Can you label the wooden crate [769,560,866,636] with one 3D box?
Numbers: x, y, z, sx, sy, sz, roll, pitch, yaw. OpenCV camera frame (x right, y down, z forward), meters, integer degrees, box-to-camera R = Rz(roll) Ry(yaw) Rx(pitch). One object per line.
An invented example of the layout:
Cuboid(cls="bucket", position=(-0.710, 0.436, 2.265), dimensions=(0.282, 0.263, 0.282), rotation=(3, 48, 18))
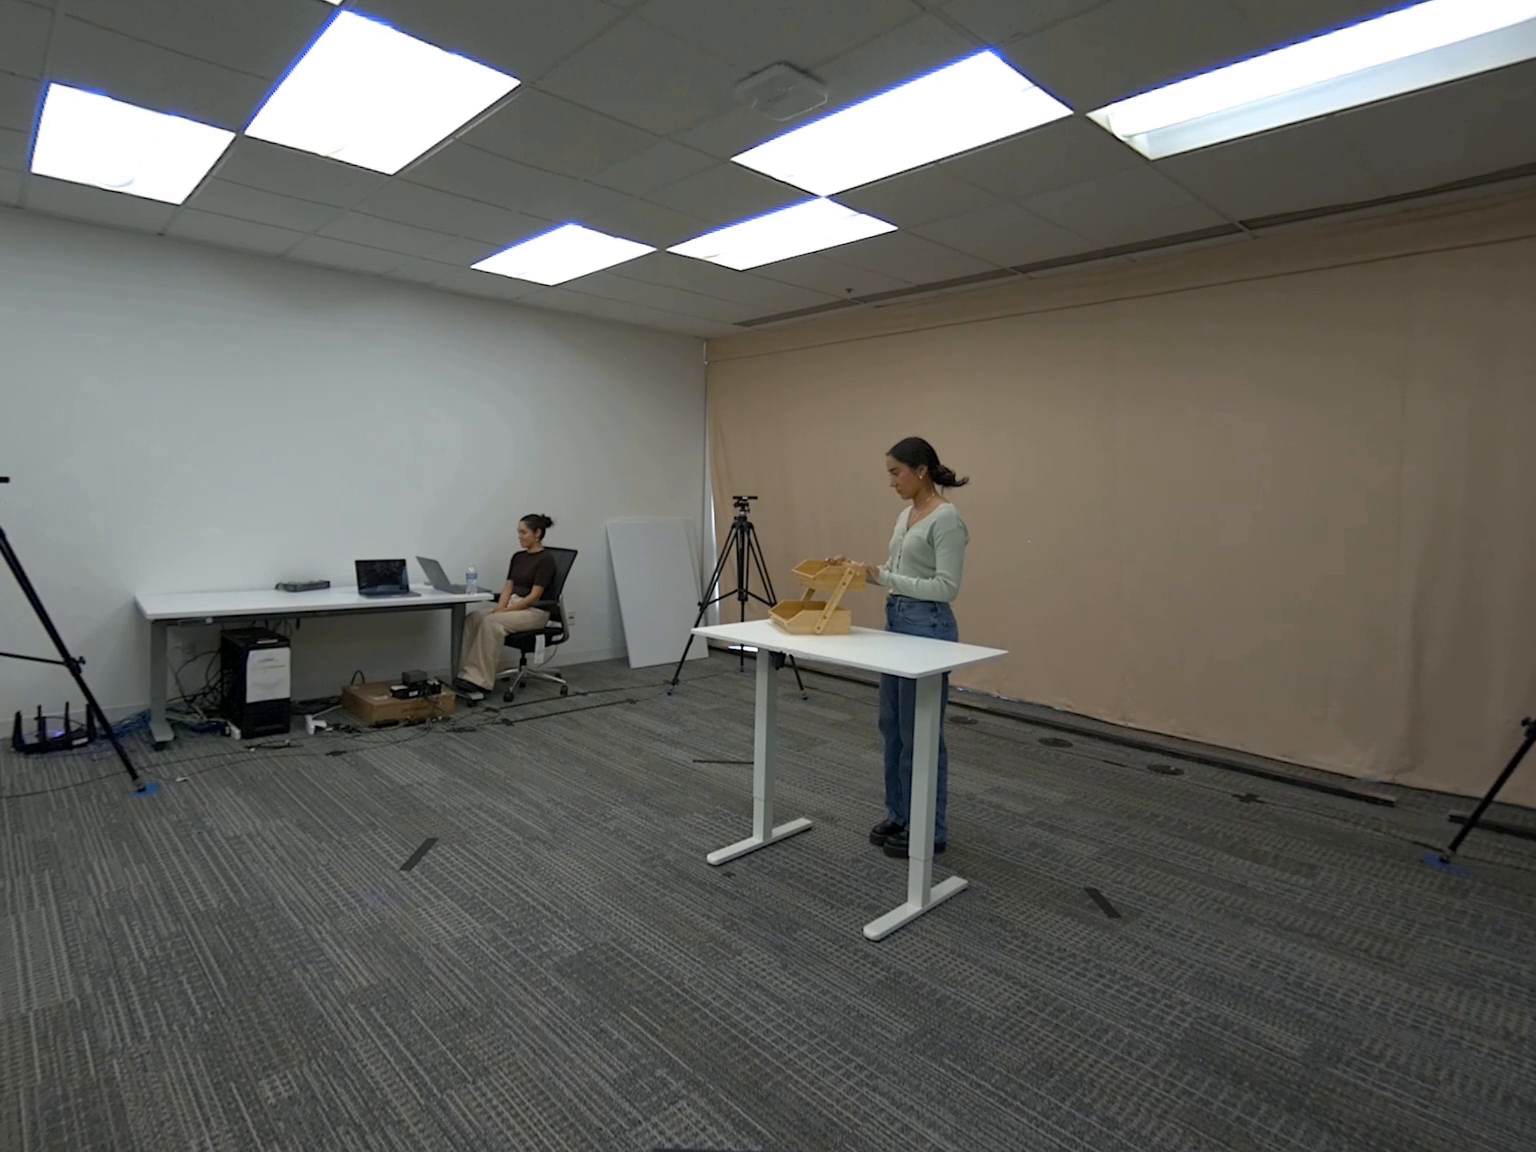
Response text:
Cuboid(cls="wooden crate", position=(0.183, 0.074, 3.304), dimensions=(0.299, 0.272, 0.329), rotation=(1, 5, -13))
